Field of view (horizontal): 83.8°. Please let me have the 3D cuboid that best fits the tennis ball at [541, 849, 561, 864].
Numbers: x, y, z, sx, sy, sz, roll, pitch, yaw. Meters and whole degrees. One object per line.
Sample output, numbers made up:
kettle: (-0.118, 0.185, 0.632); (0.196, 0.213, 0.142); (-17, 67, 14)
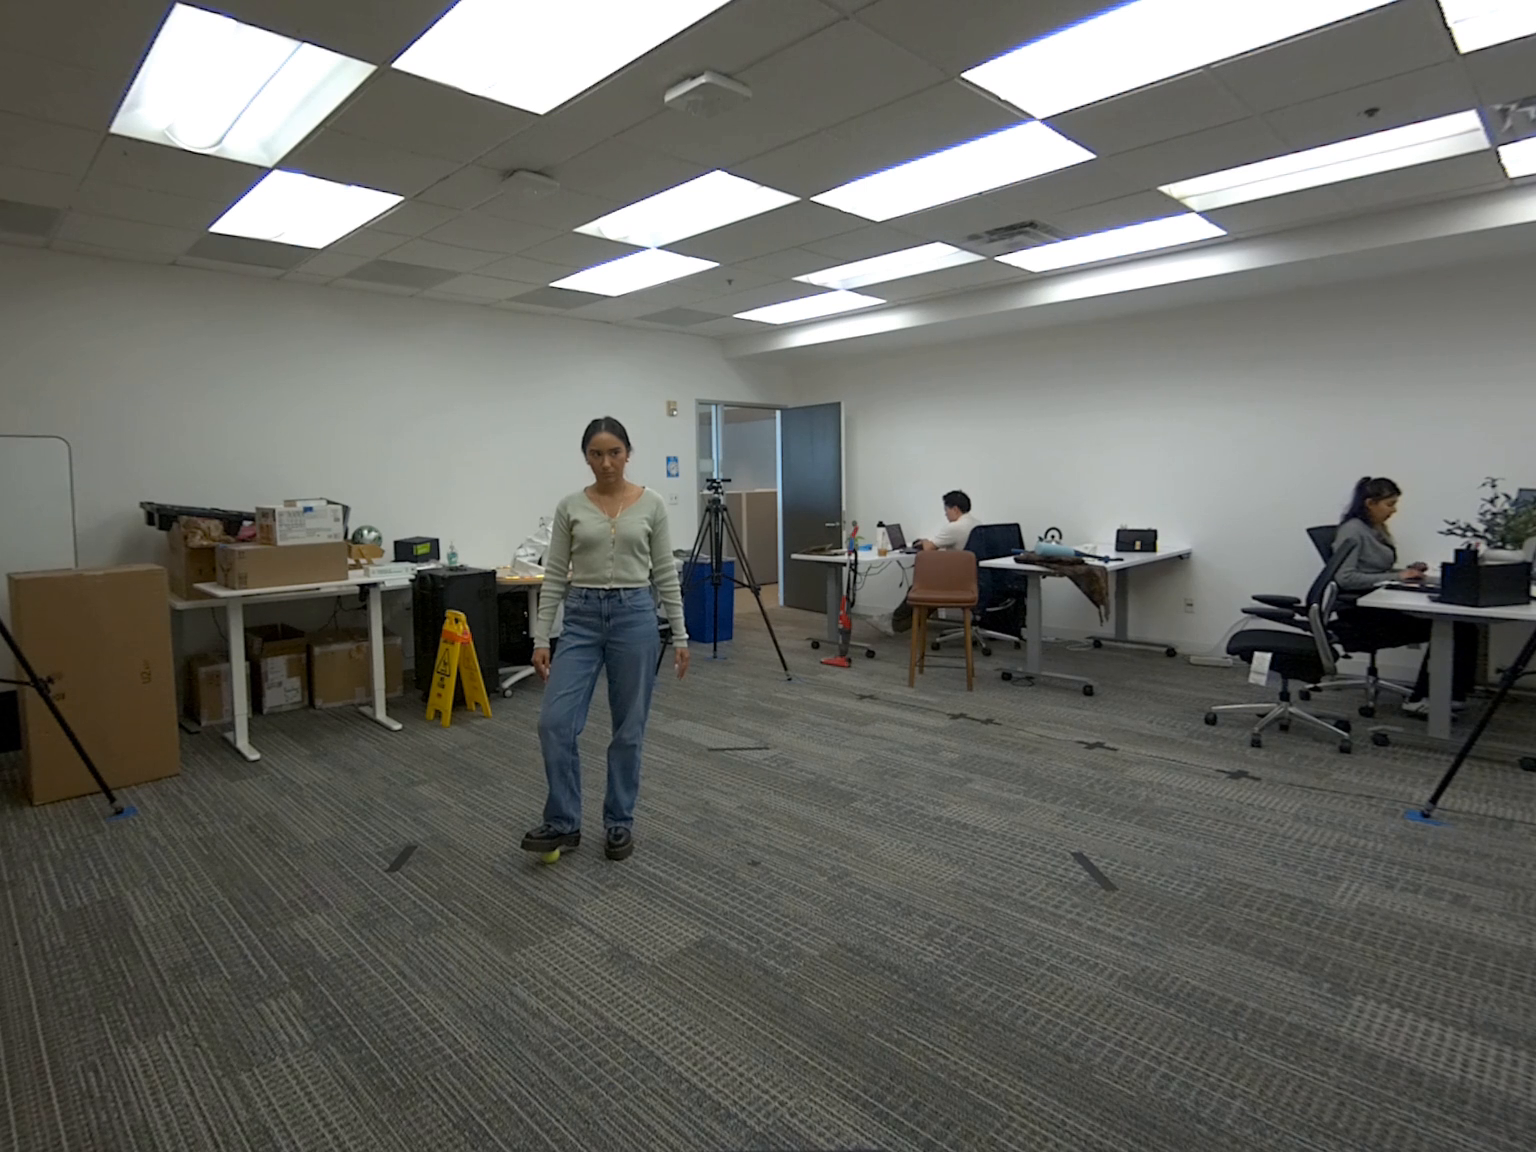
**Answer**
tennis ball: (-0.809, 1.037, 3.149); (0.066, 0.066, 0.067); (-1, 5, -2)
